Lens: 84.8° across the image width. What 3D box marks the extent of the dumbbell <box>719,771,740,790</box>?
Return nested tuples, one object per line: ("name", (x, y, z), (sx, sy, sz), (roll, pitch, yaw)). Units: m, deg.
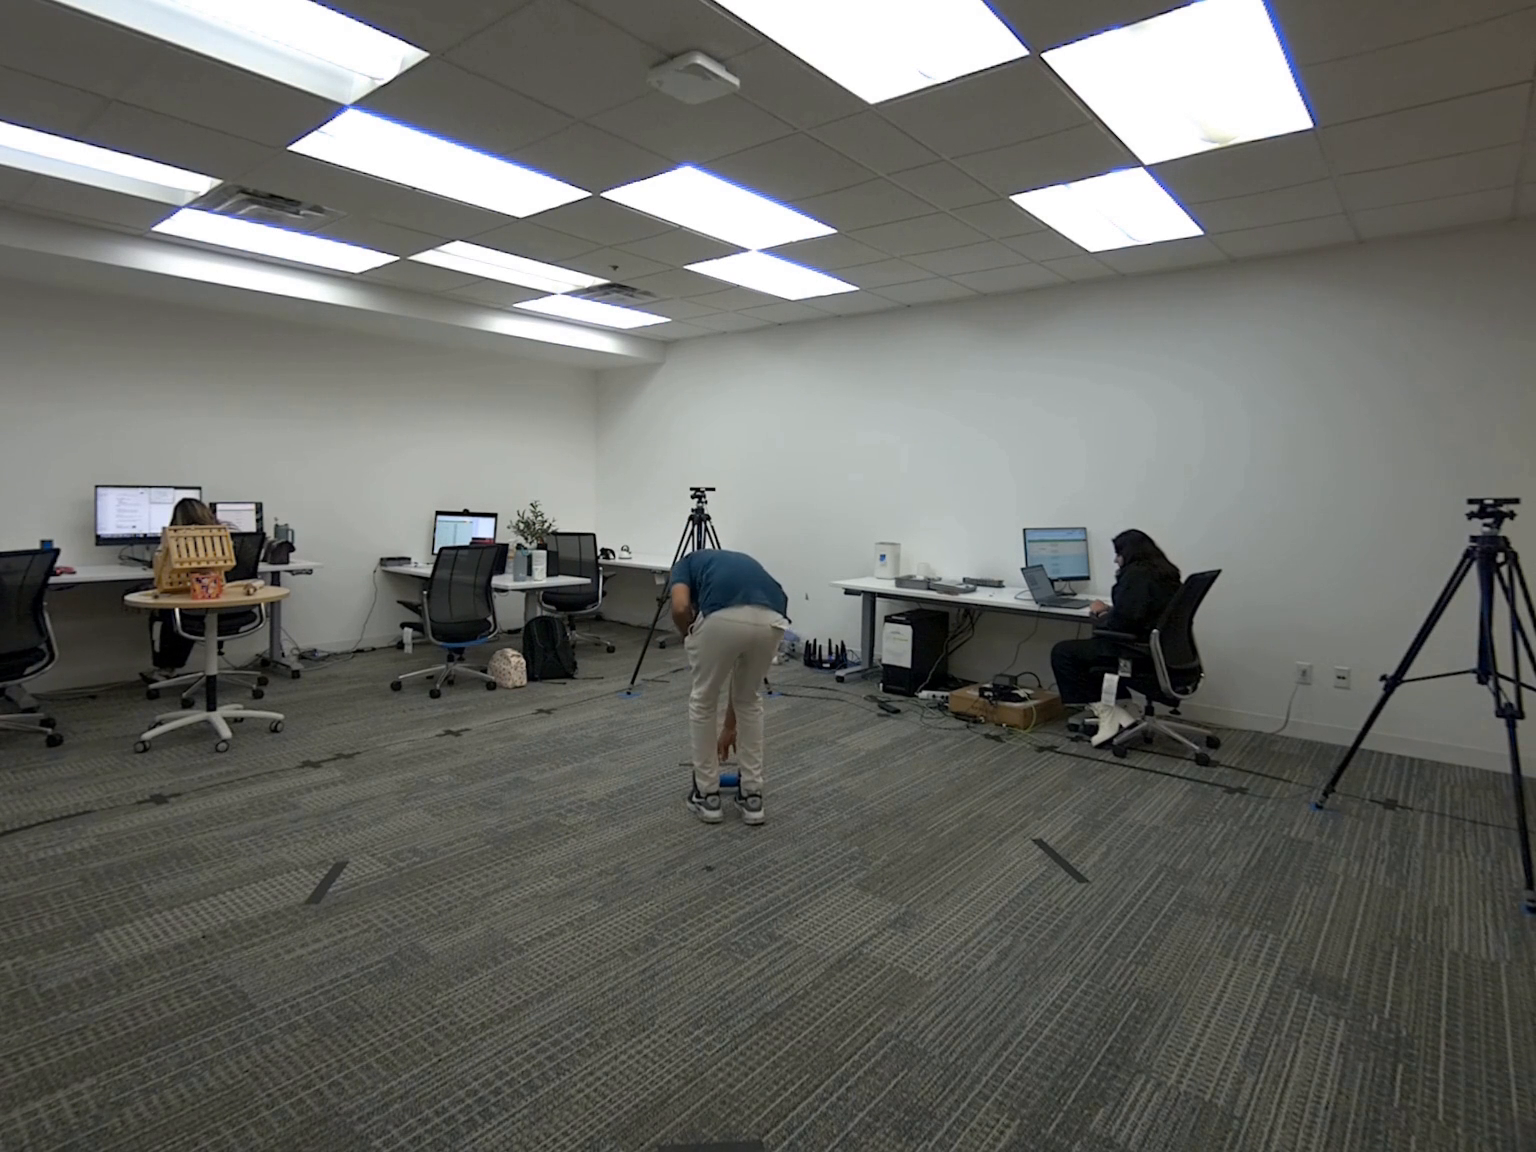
("dumbbell", (-0.200, 0.930, 3.893), (0.291, 0.120, 0.112), (0, 35, -7))
